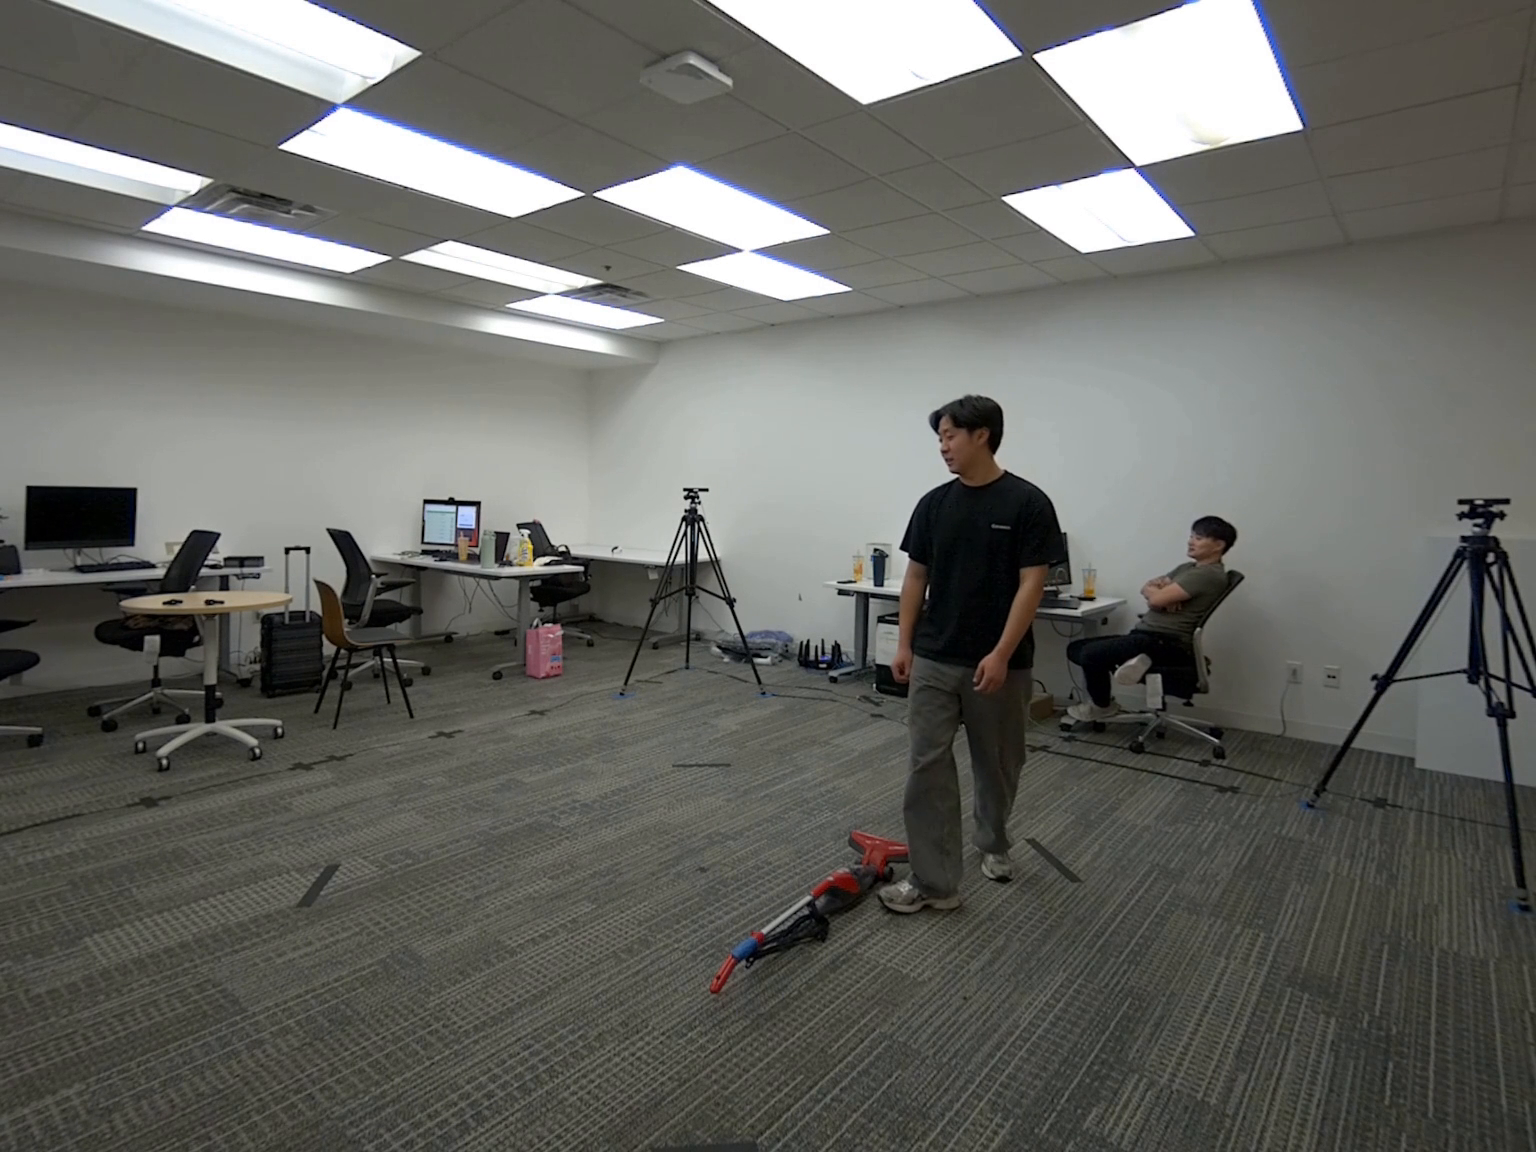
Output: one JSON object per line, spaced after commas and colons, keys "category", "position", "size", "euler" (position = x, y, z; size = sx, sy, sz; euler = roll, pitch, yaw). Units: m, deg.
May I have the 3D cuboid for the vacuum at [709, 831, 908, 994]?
{"category": "vacuum", "position": [0.125, 1.063, 2.681], "size": [0.260, 0.143, 1.022], "euler": [5, 7, 31]}
